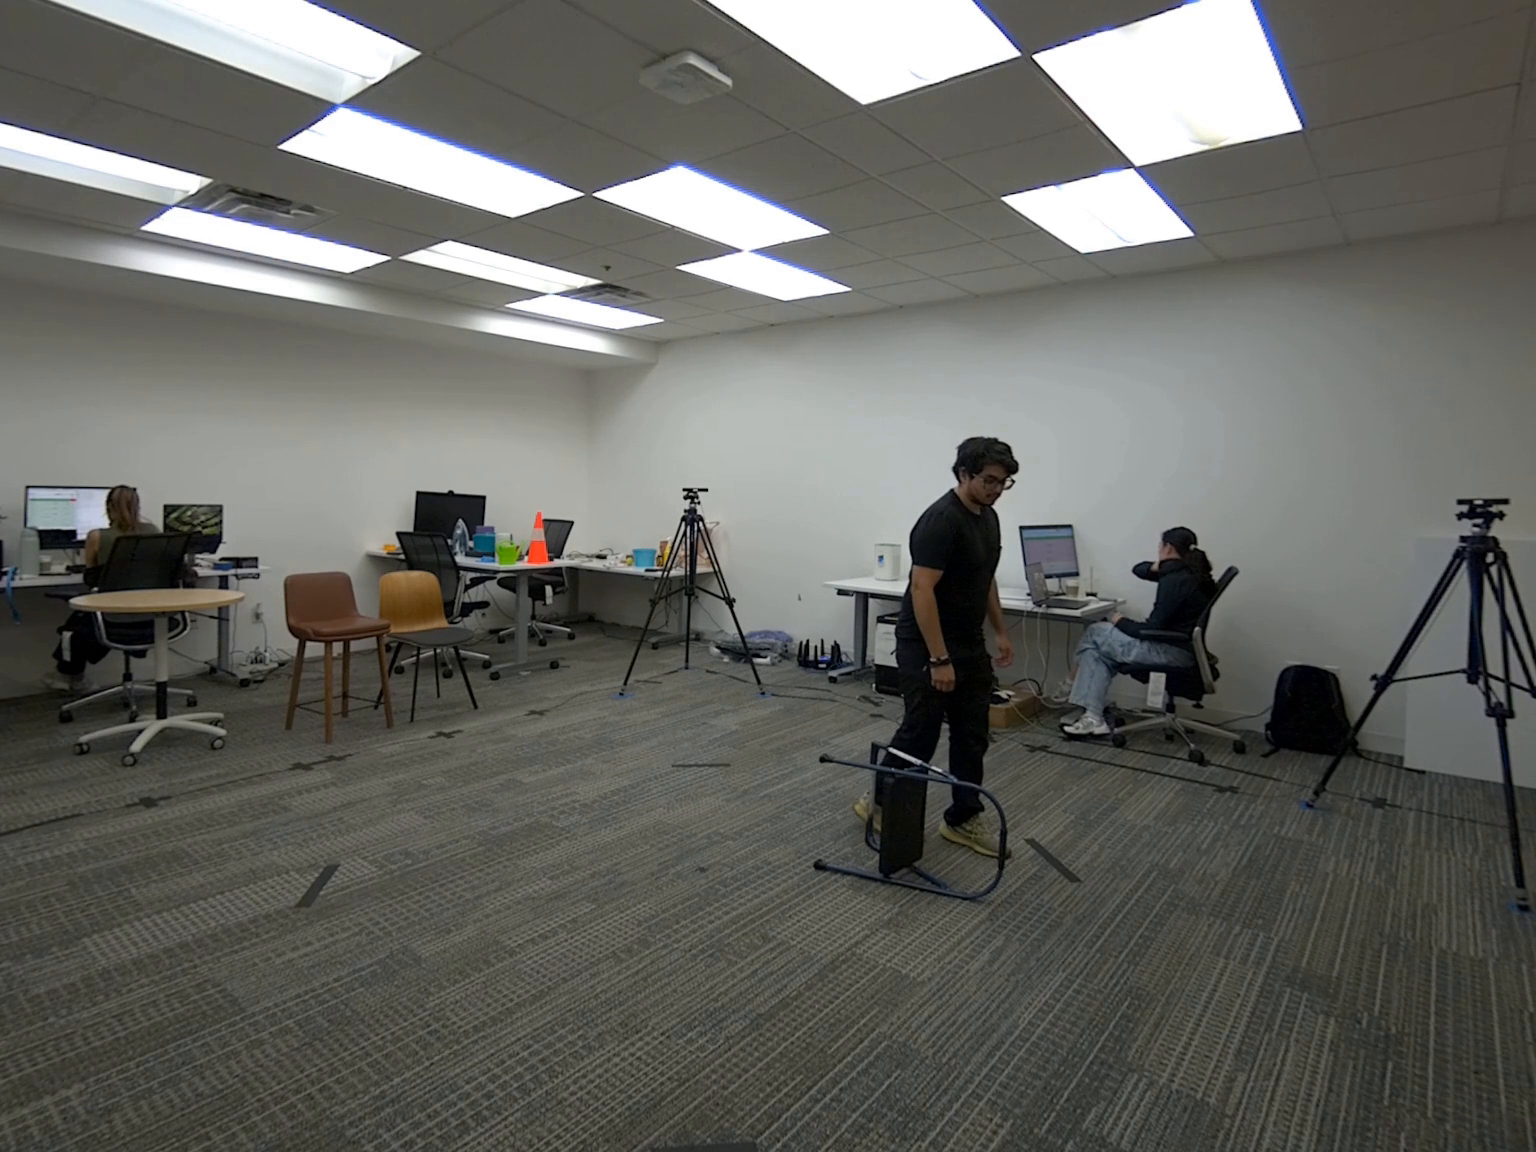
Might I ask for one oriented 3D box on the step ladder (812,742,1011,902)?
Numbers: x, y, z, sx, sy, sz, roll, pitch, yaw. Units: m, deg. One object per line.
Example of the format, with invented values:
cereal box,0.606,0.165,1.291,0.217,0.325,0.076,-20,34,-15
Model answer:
step ladder,0.510,0.885,3.032,0.628,0.428,0.339,8,8,42
